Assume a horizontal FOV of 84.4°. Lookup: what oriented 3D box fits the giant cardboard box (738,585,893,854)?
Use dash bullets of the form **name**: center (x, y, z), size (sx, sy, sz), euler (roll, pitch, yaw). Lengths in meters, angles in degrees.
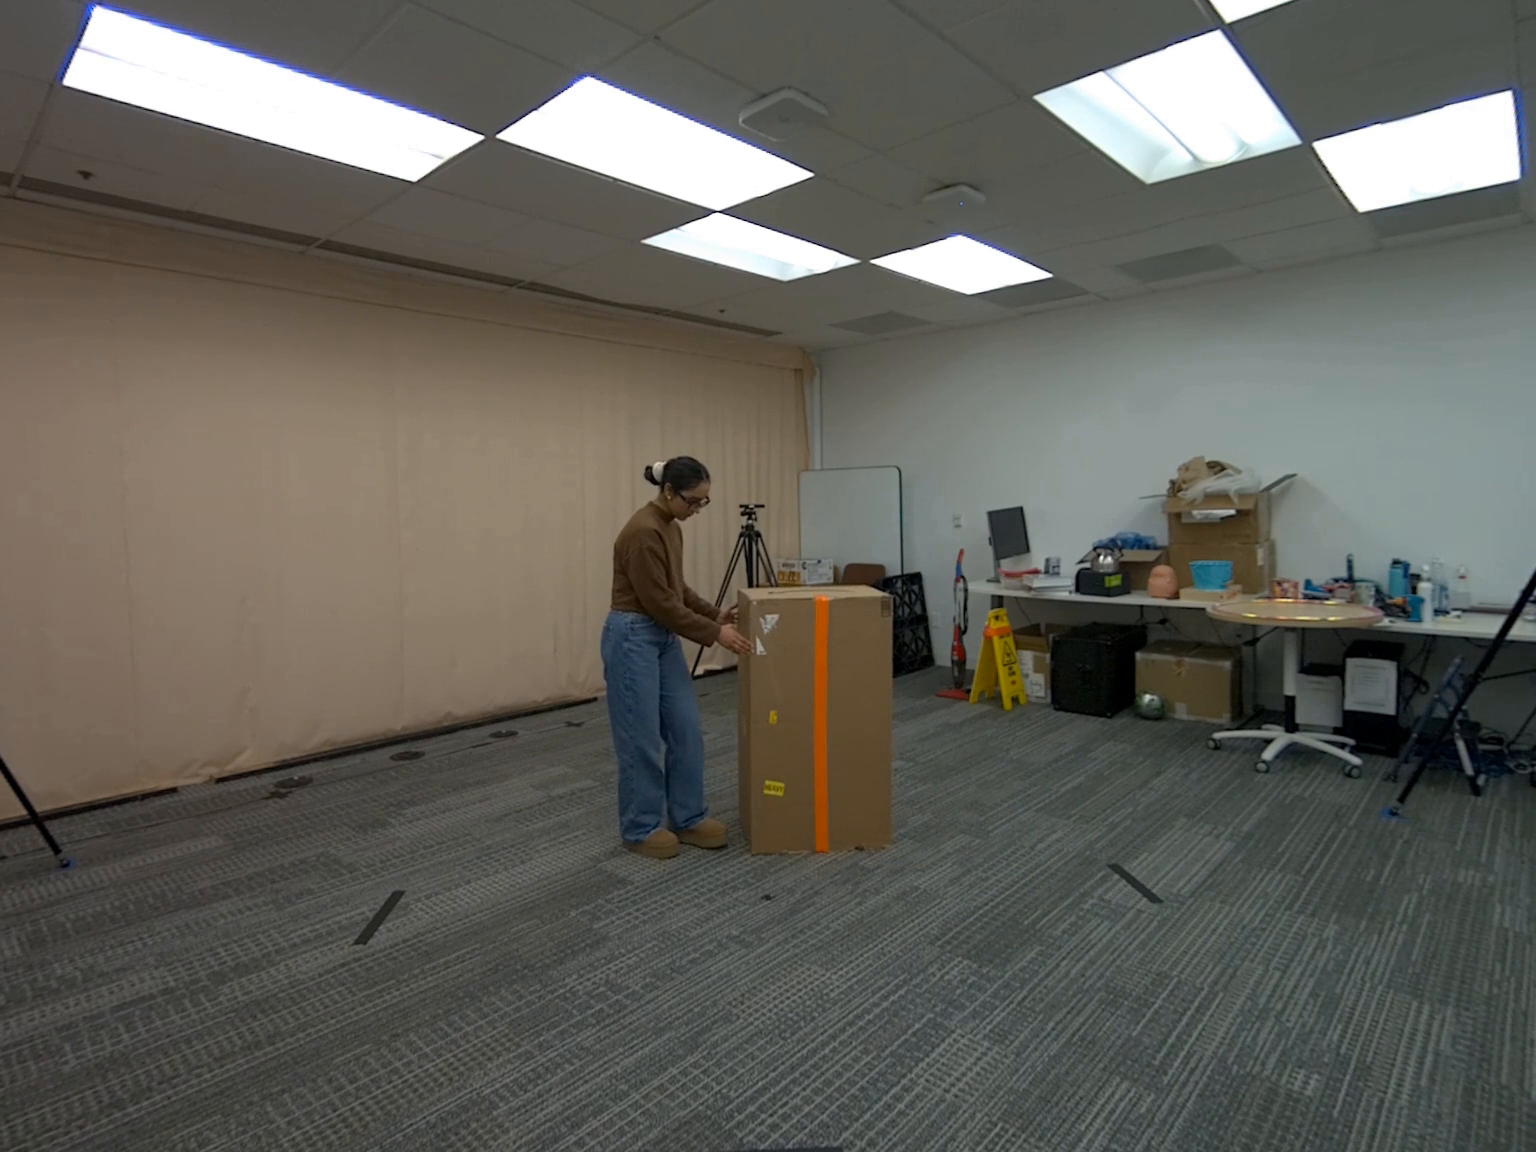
- **giant cardboard box**: center (0.189, 0.577, 3.548), size (0.574, 1.023, 0.430), euler (-1, 3, -7)
